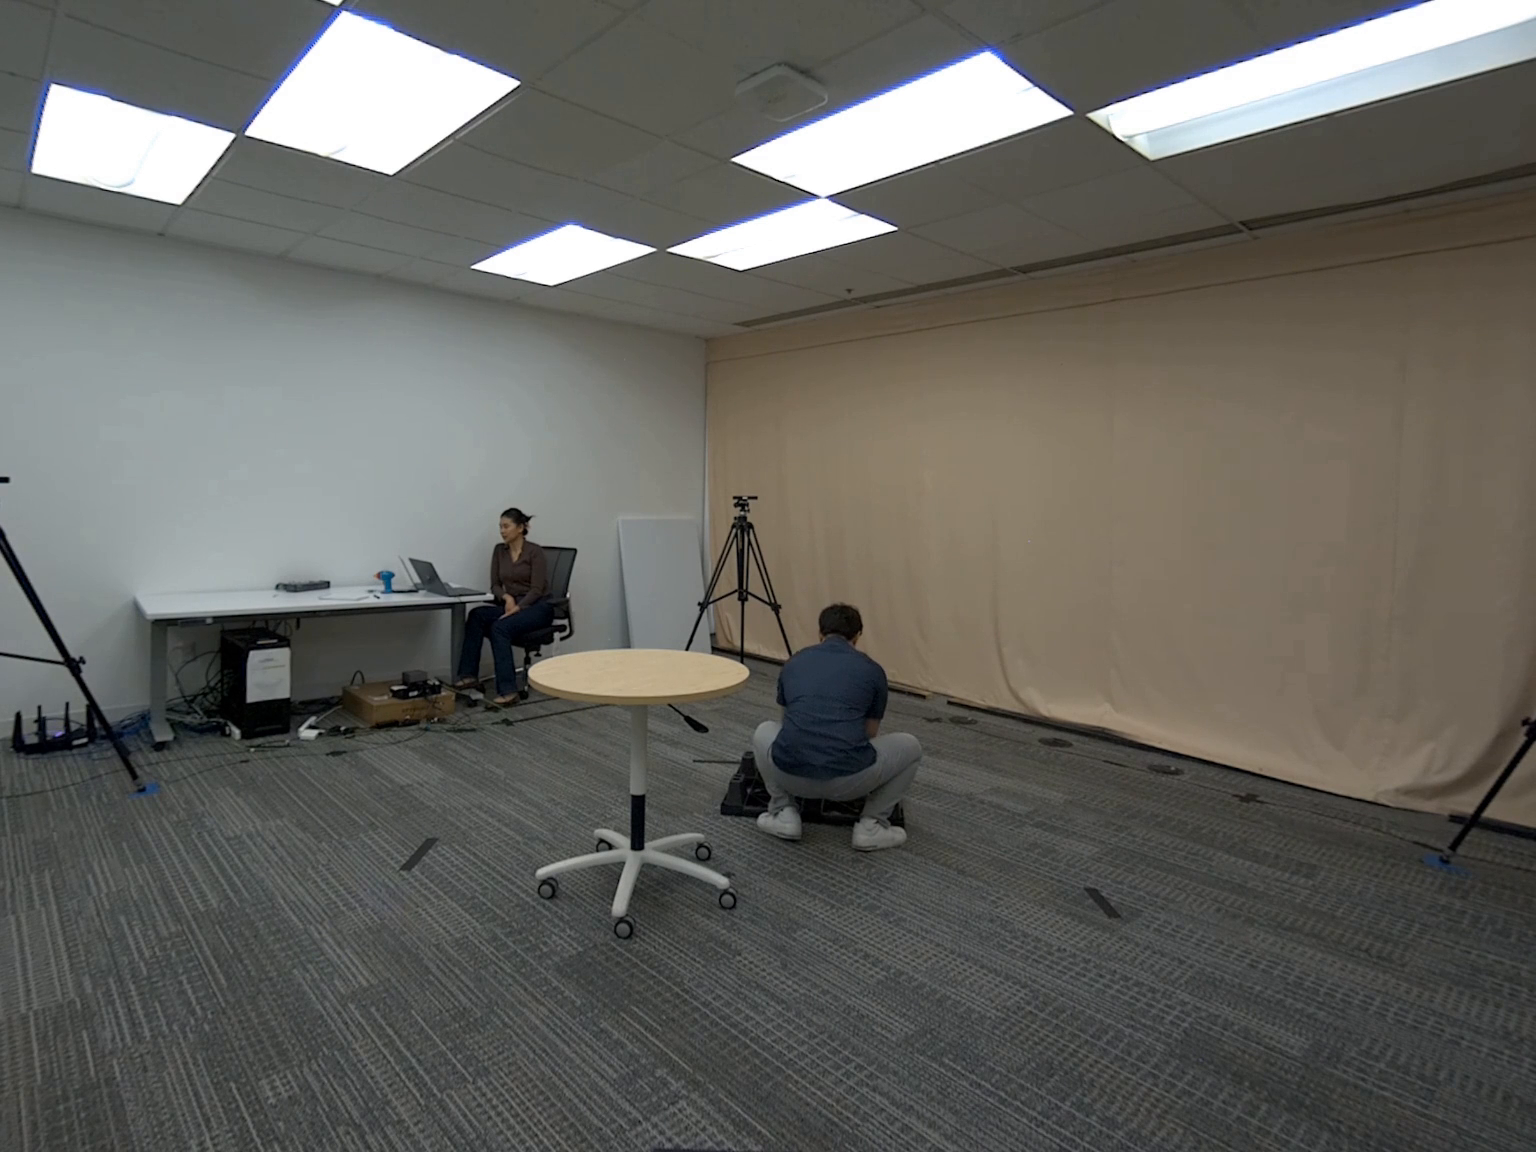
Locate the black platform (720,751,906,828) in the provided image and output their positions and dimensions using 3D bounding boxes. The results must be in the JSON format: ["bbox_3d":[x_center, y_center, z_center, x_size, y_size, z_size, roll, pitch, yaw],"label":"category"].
[{"bbox_3d":[0.214,0.972,3.929,0.811,0.143,0.603,2,6,8],"label":"black platform"}]
